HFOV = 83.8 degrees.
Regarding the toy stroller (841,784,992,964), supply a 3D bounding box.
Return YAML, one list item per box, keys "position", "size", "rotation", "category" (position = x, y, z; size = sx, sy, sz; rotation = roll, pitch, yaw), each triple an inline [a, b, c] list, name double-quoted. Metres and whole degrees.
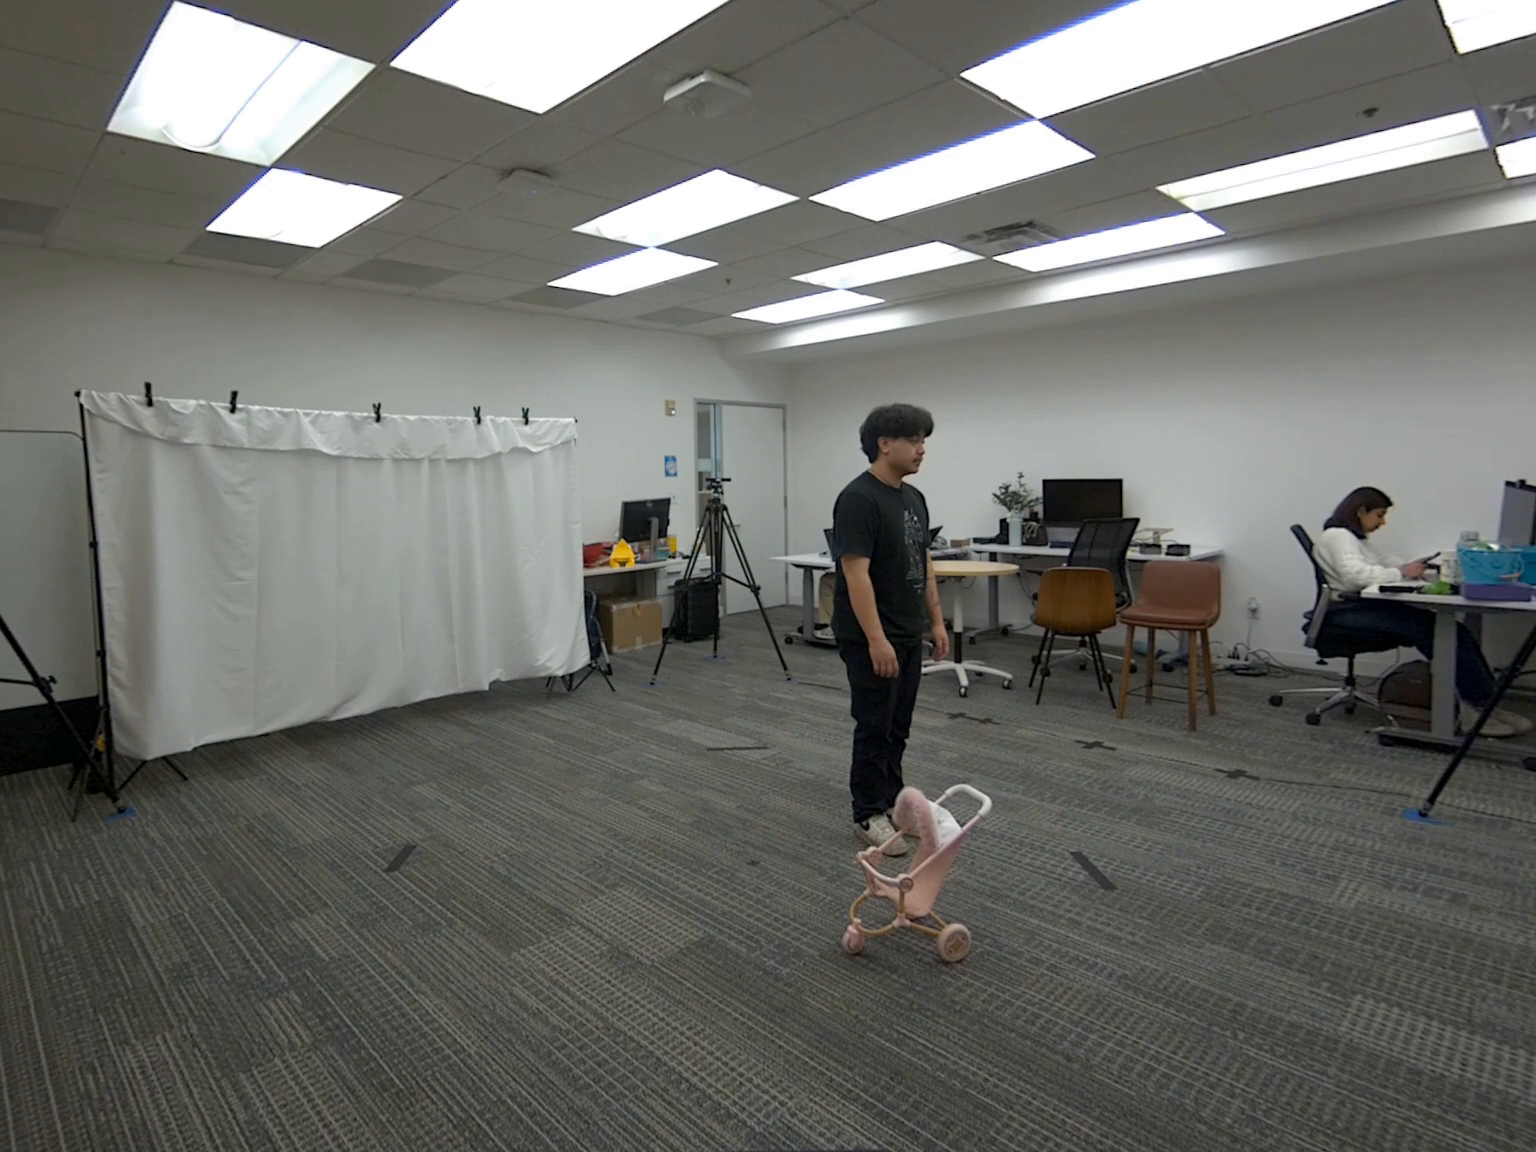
- position: [0.424, 0.875, 2.538]
  size: [0.336, 0.535, 0.286]
  rotation: [13, 1, -14]
  category: "toy stroller"
